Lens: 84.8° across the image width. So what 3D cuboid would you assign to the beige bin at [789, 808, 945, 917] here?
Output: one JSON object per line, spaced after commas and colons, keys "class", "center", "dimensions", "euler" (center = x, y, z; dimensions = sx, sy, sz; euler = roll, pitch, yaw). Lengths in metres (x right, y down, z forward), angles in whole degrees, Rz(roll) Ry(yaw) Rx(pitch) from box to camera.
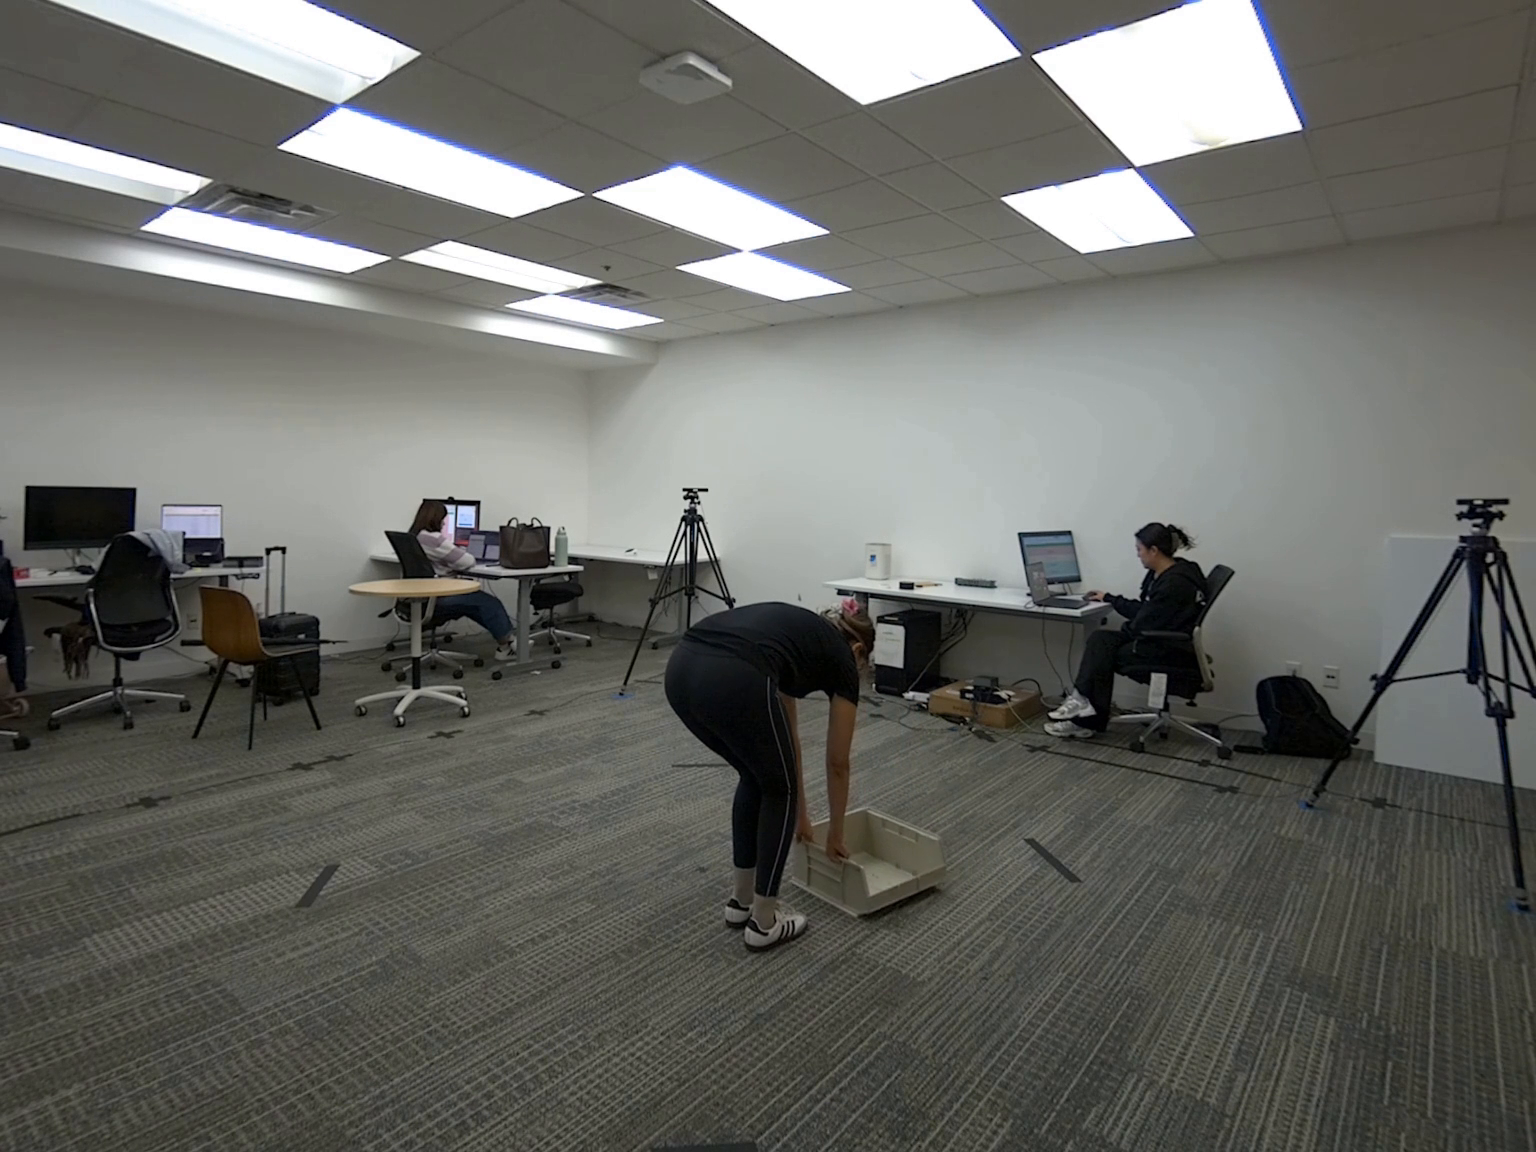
{"class": "beige bin", "center": [0.350, 1.000, 3.003], "dimensions": [0.410, 0.188, 0.390], "euler": [-5, 7, -40]}
